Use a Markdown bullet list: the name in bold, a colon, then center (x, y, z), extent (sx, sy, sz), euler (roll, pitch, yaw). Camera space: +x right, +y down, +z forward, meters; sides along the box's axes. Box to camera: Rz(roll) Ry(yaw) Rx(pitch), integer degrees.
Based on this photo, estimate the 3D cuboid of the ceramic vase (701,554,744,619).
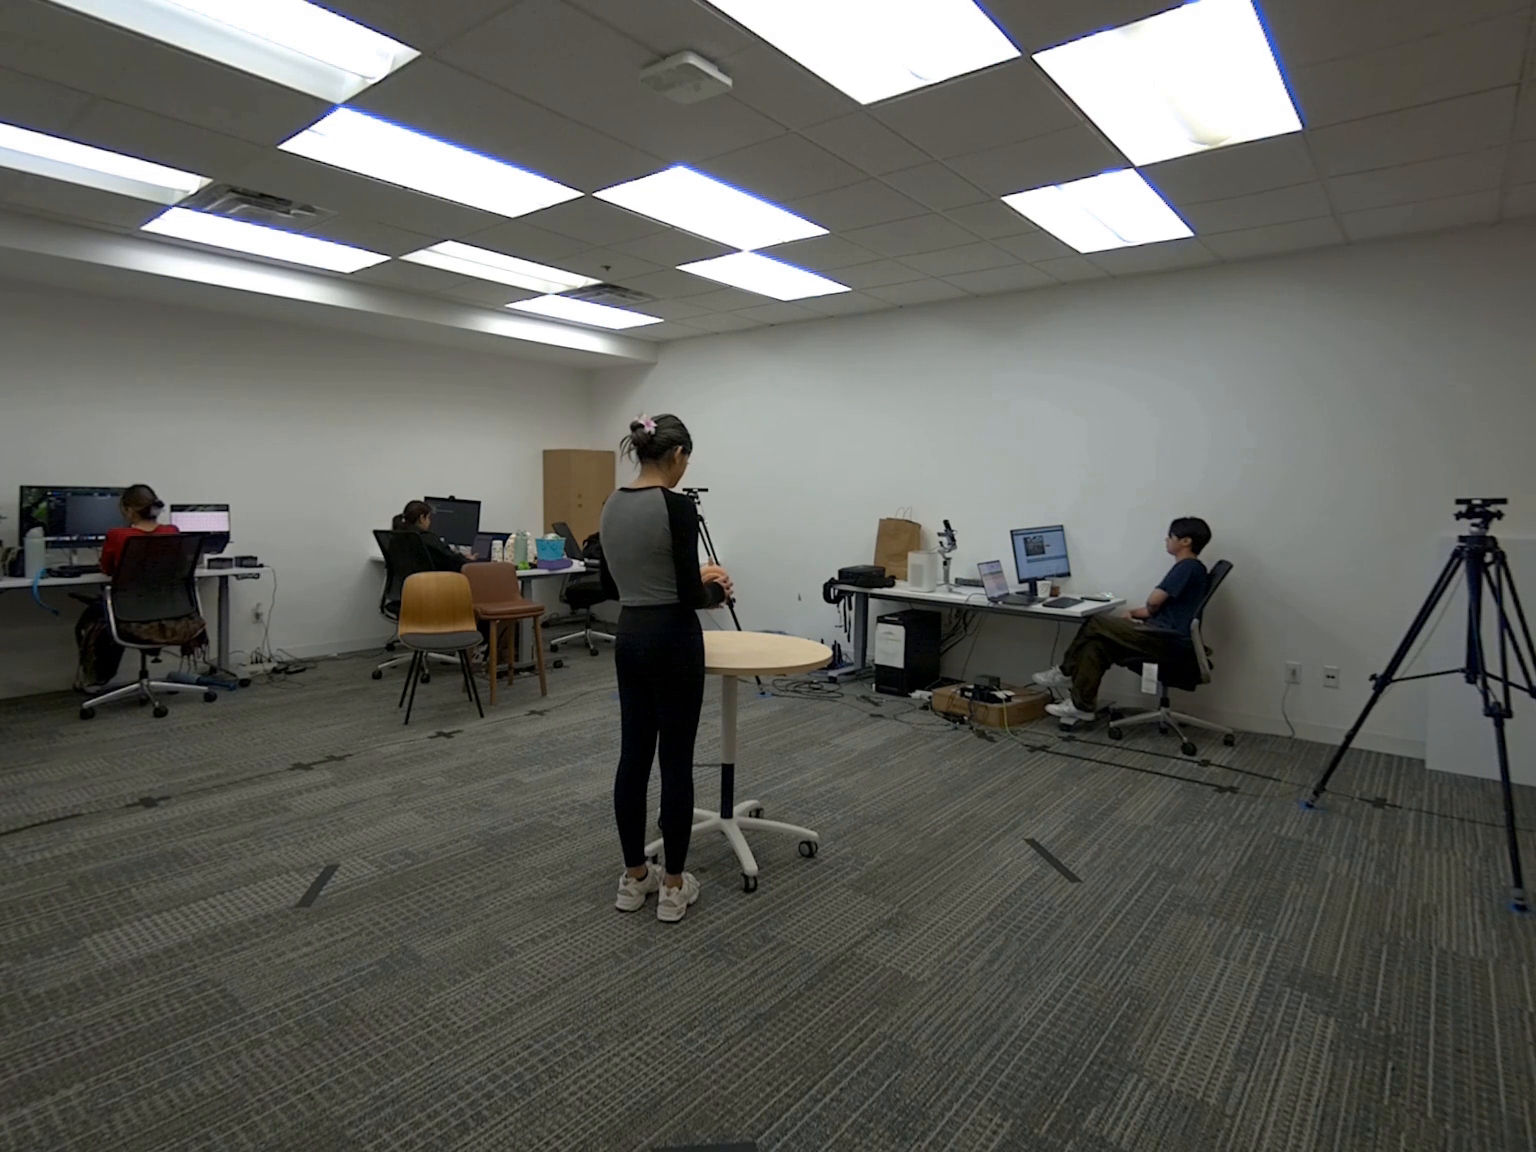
- **ceramic vase**: center (-0.204, 0.033, 3.091), extent (0.134, 0.157, 0.222), euler (-43, 9, 0)
